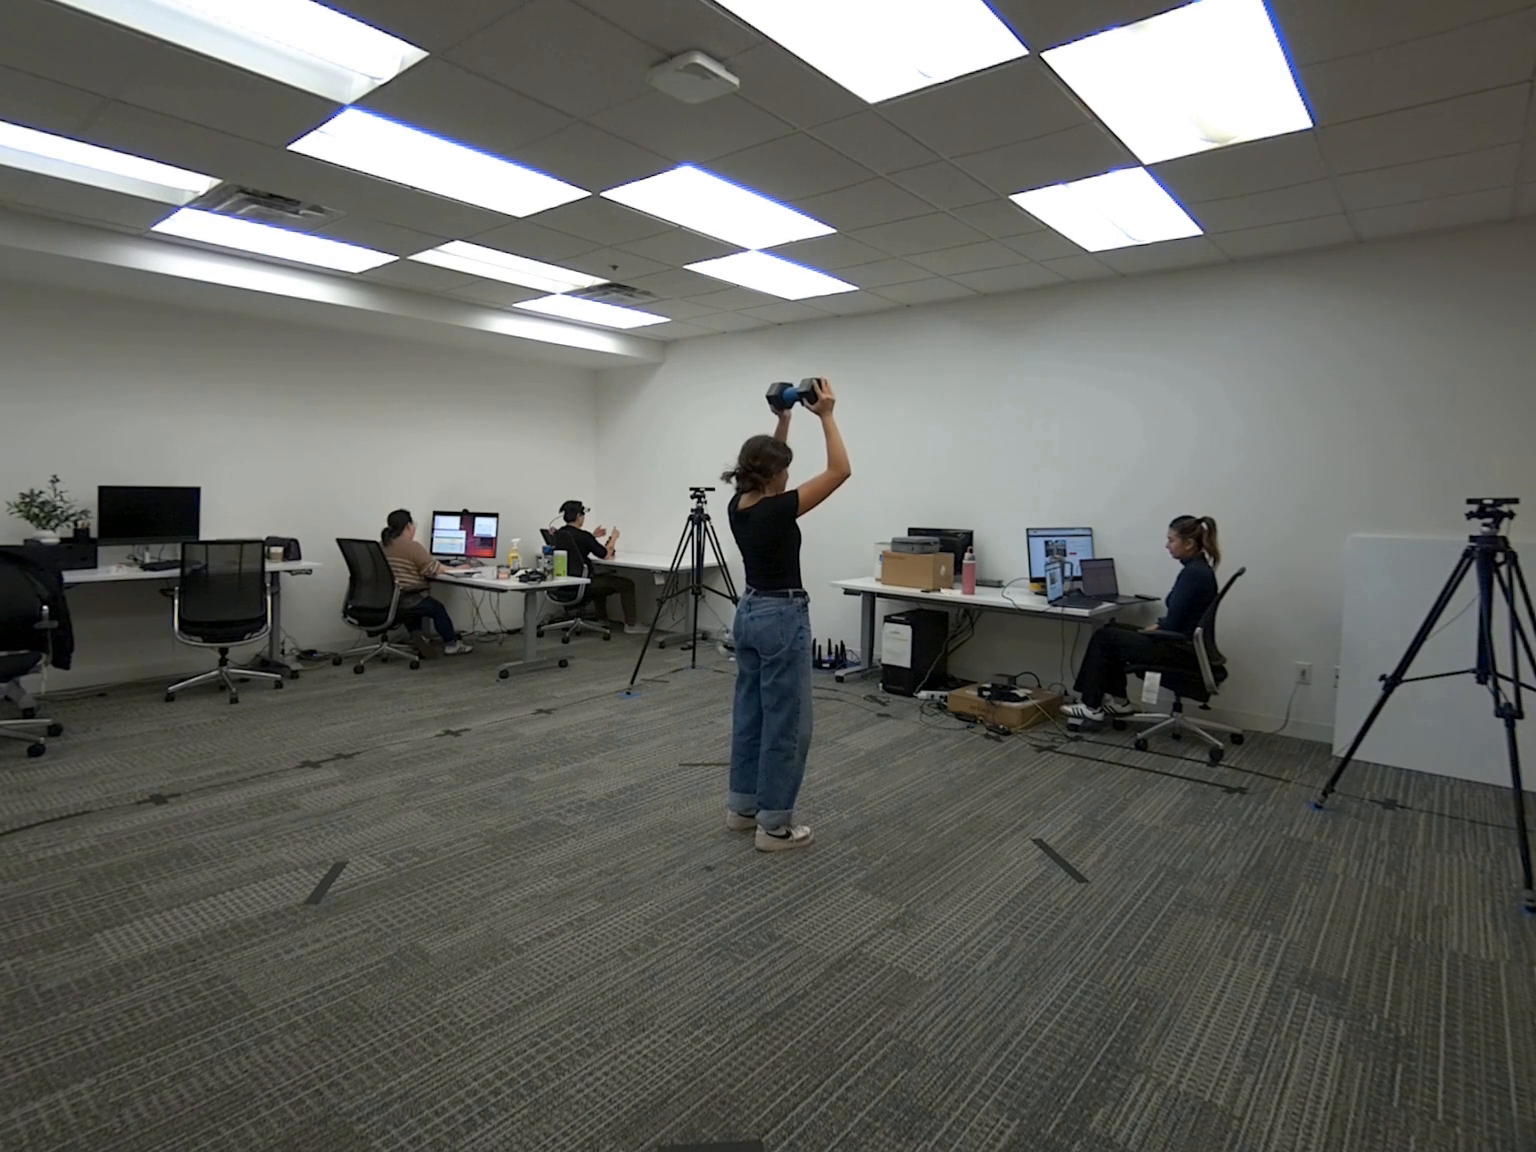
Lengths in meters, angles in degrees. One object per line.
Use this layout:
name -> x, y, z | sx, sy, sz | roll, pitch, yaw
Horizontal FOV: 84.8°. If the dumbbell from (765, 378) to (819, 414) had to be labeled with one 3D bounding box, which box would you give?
dumbbell -> 0.107, -0.727, 3.391 | 0.104, 0.123, 0.303 | 37, -16, -33
